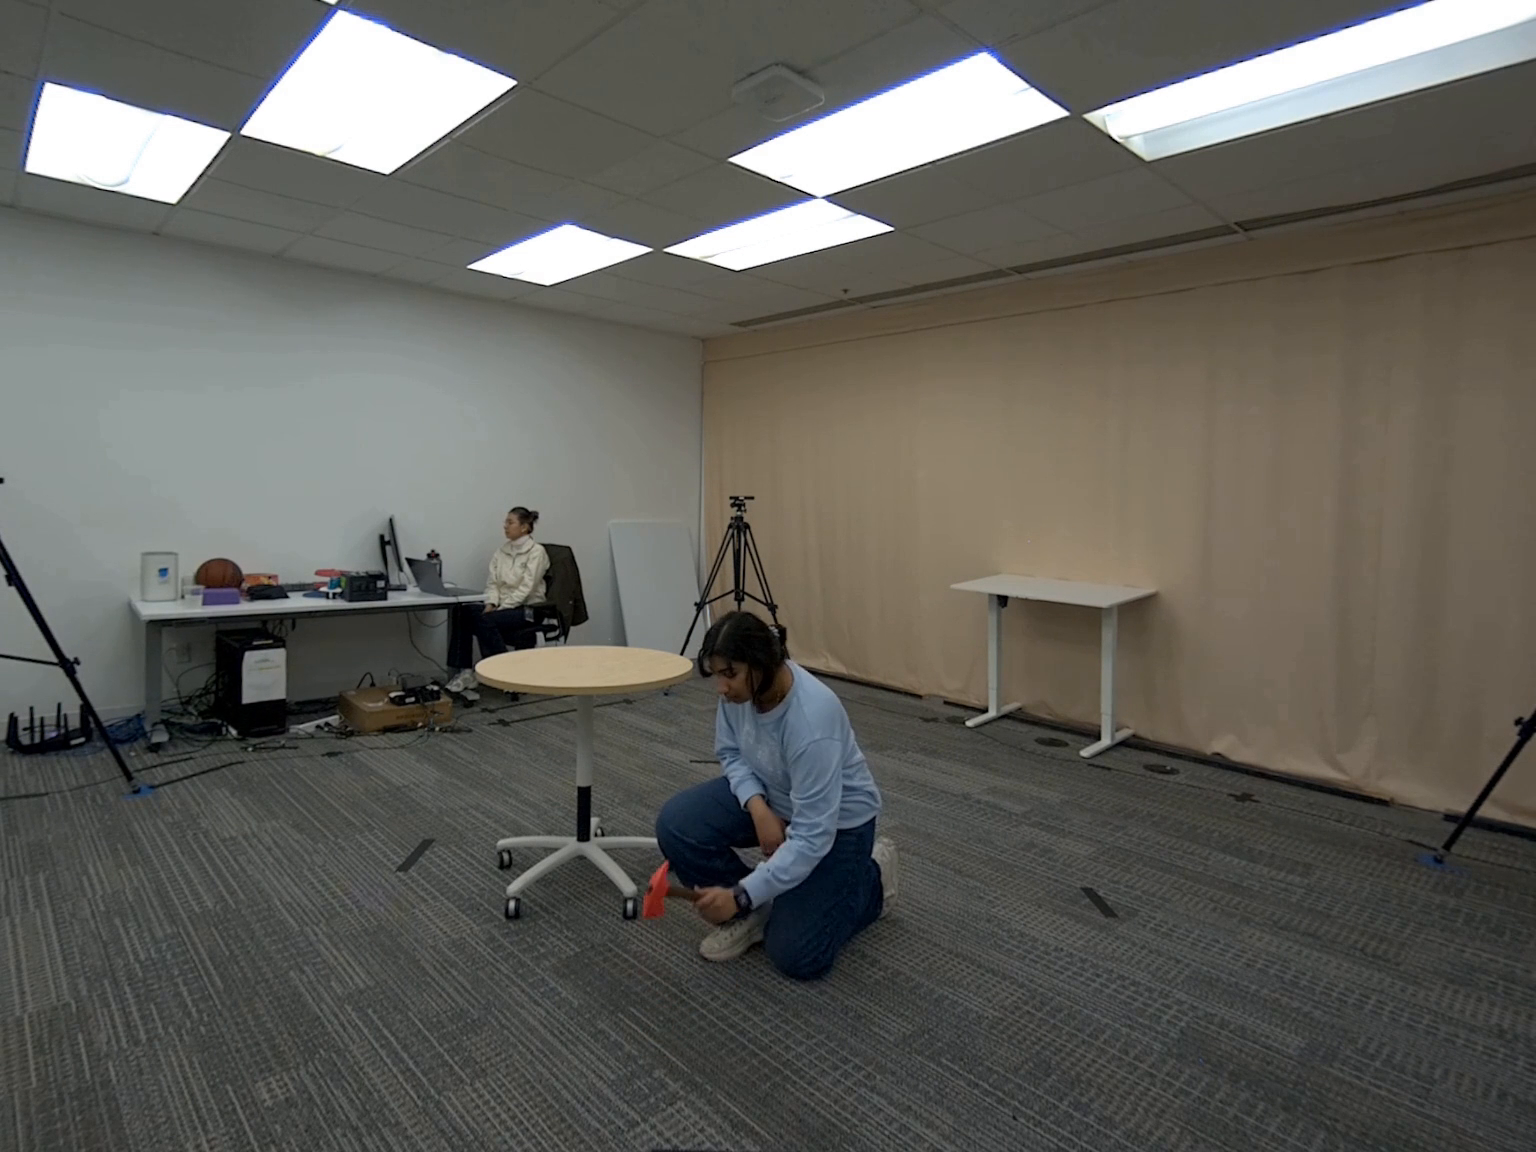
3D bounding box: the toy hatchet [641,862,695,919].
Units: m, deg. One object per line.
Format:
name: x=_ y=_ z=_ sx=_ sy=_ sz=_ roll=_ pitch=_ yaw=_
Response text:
toy hatchet: x=-0.213 y=0.824 z=2.049 sx=0.030 sy=0.131 sz=0.262 roll=8 pitch=-32 yaw=52
